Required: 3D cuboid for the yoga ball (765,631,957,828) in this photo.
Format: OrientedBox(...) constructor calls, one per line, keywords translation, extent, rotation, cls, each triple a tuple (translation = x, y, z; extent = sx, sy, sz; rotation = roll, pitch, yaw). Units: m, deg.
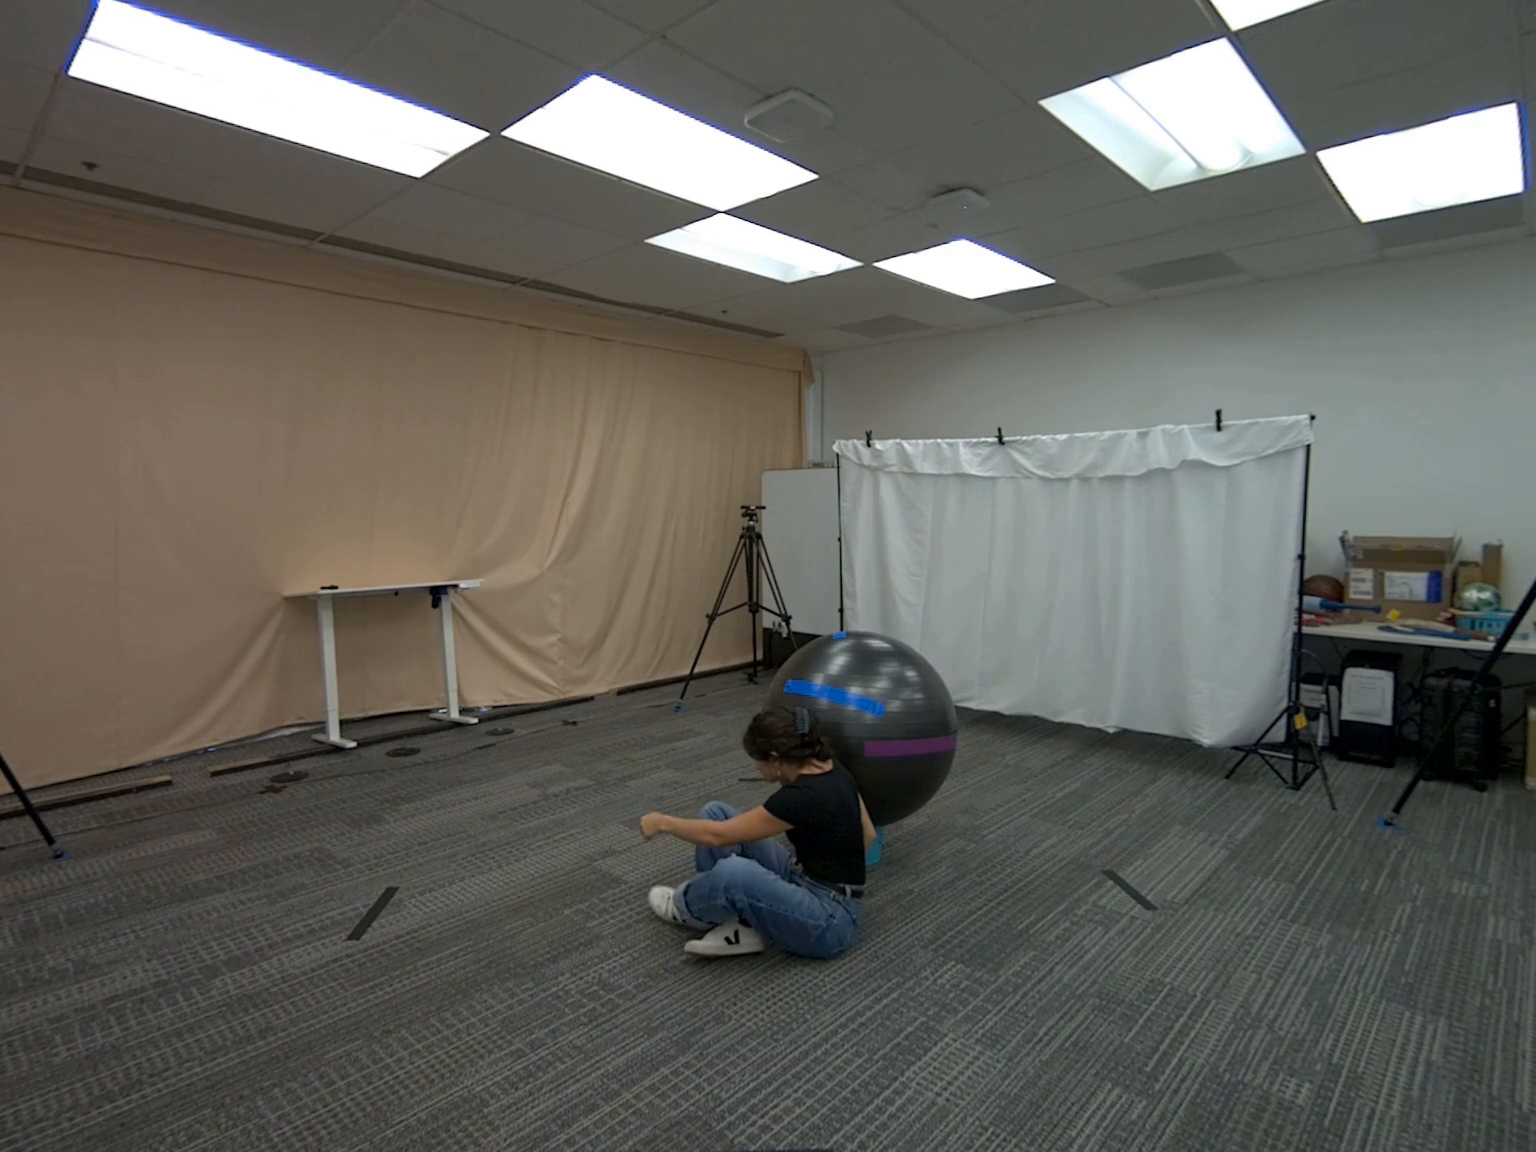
OrientedBox(translation=(0.357, 0.603, 3.335), extent=(0.757, 0.756, 0.761), rotation=(0, 4, -2), cls="yoga ball")
